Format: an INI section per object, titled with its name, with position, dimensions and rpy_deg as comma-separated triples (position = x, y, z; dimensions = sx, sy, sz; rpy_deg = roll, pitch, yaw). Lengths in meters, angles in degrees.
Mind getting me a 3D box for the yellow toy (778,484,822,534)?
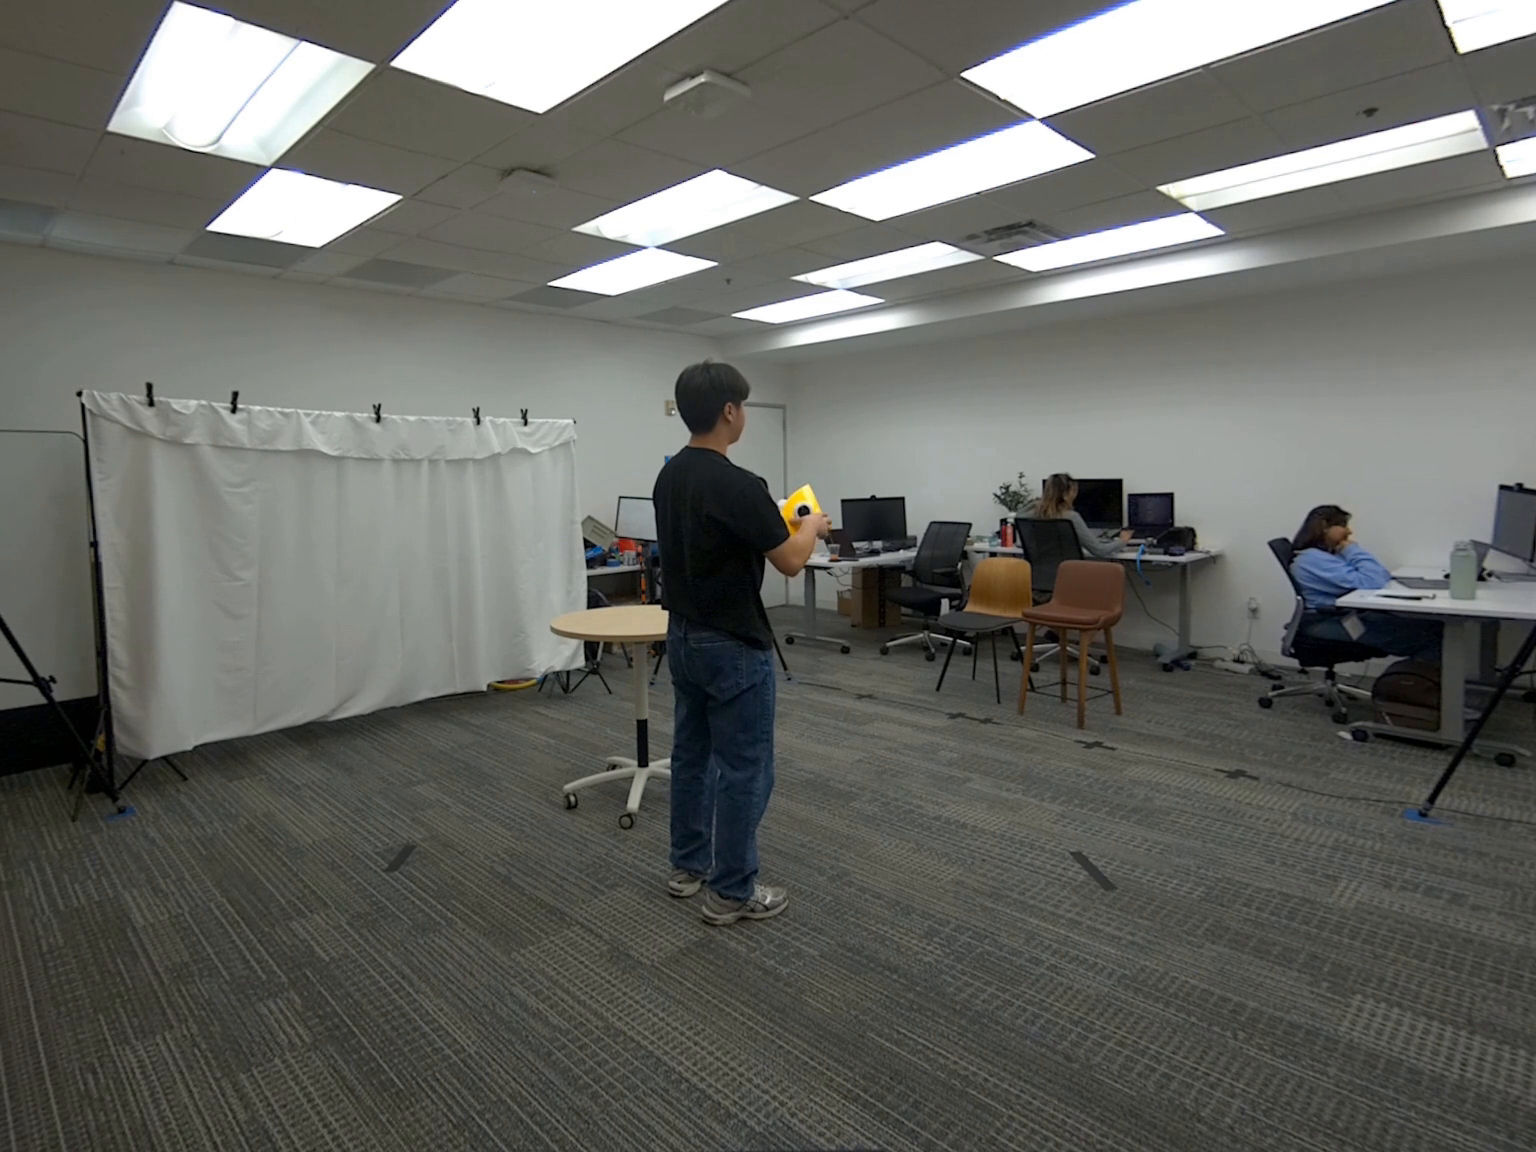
[yellow toy]
position = 0.092, -0.209, 2.969
dimensions = 0.187, 0.230, 0.212
rpy_deg = 4, 5, -43
